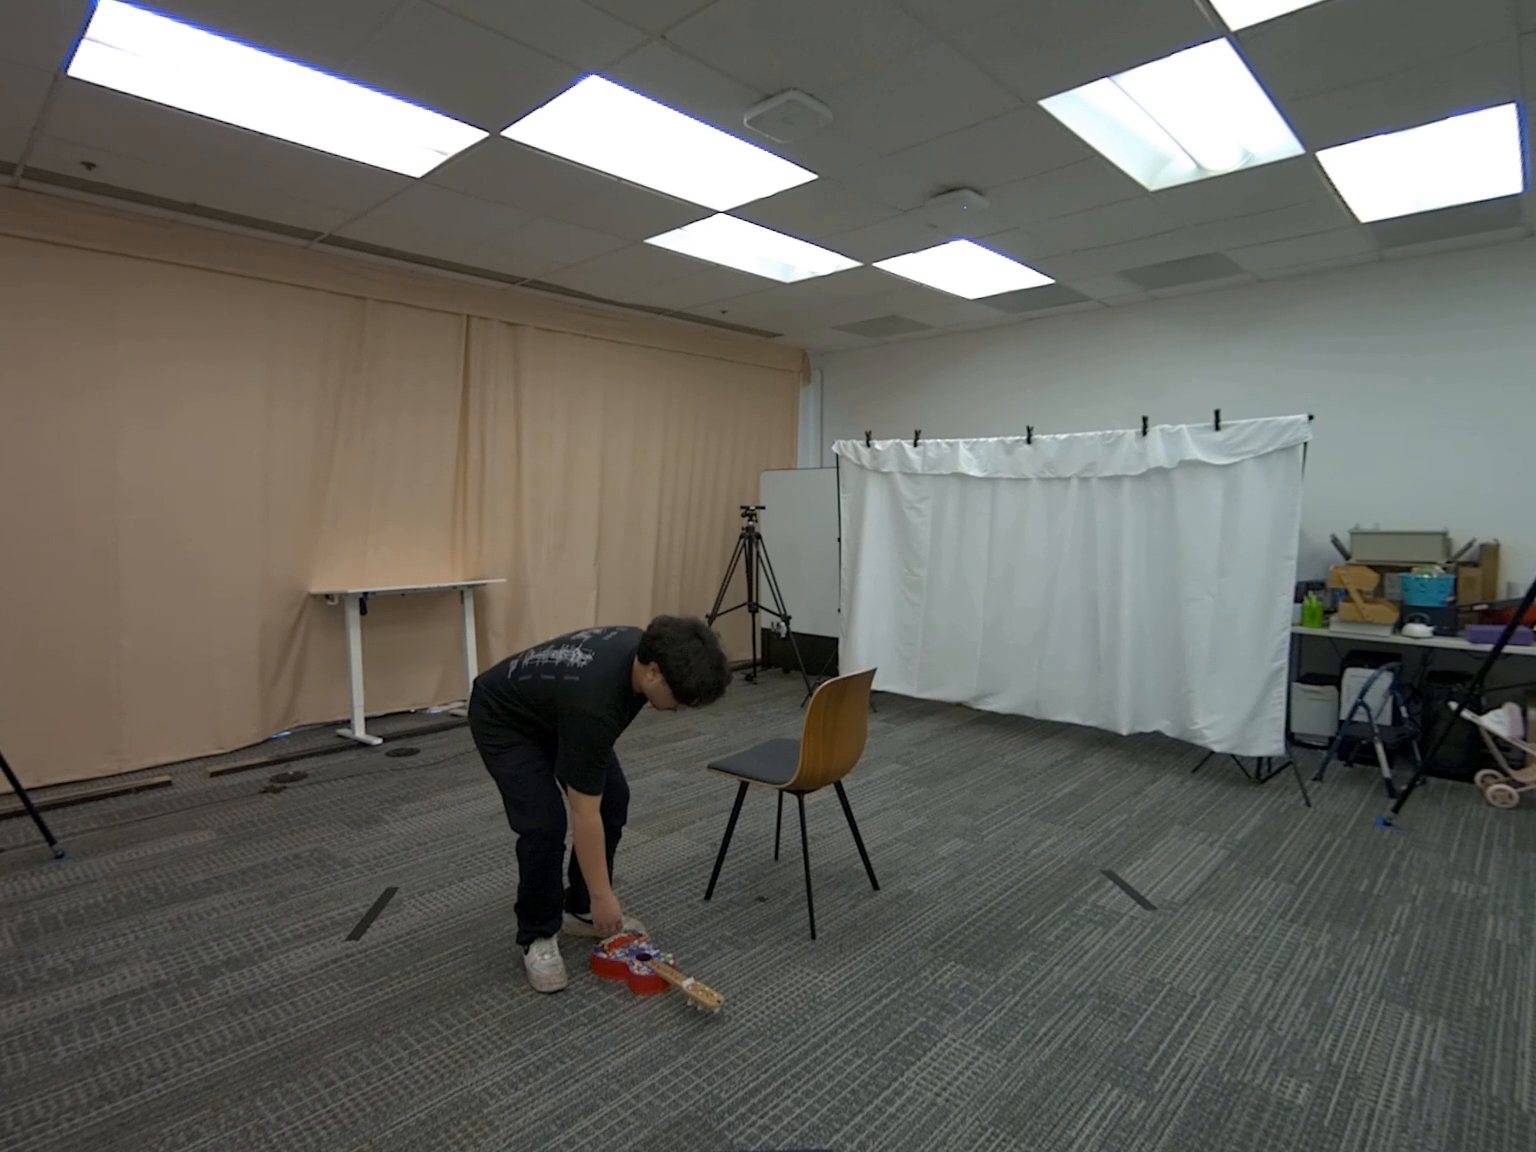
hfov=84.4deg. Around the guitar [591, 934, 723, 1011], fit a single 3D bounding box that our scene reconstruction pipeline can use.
[{"bbox_3d":[-0.334,1.161,2.414,0.187,0.070,0.514,-2,5,-36],"label":"guitar"}]
